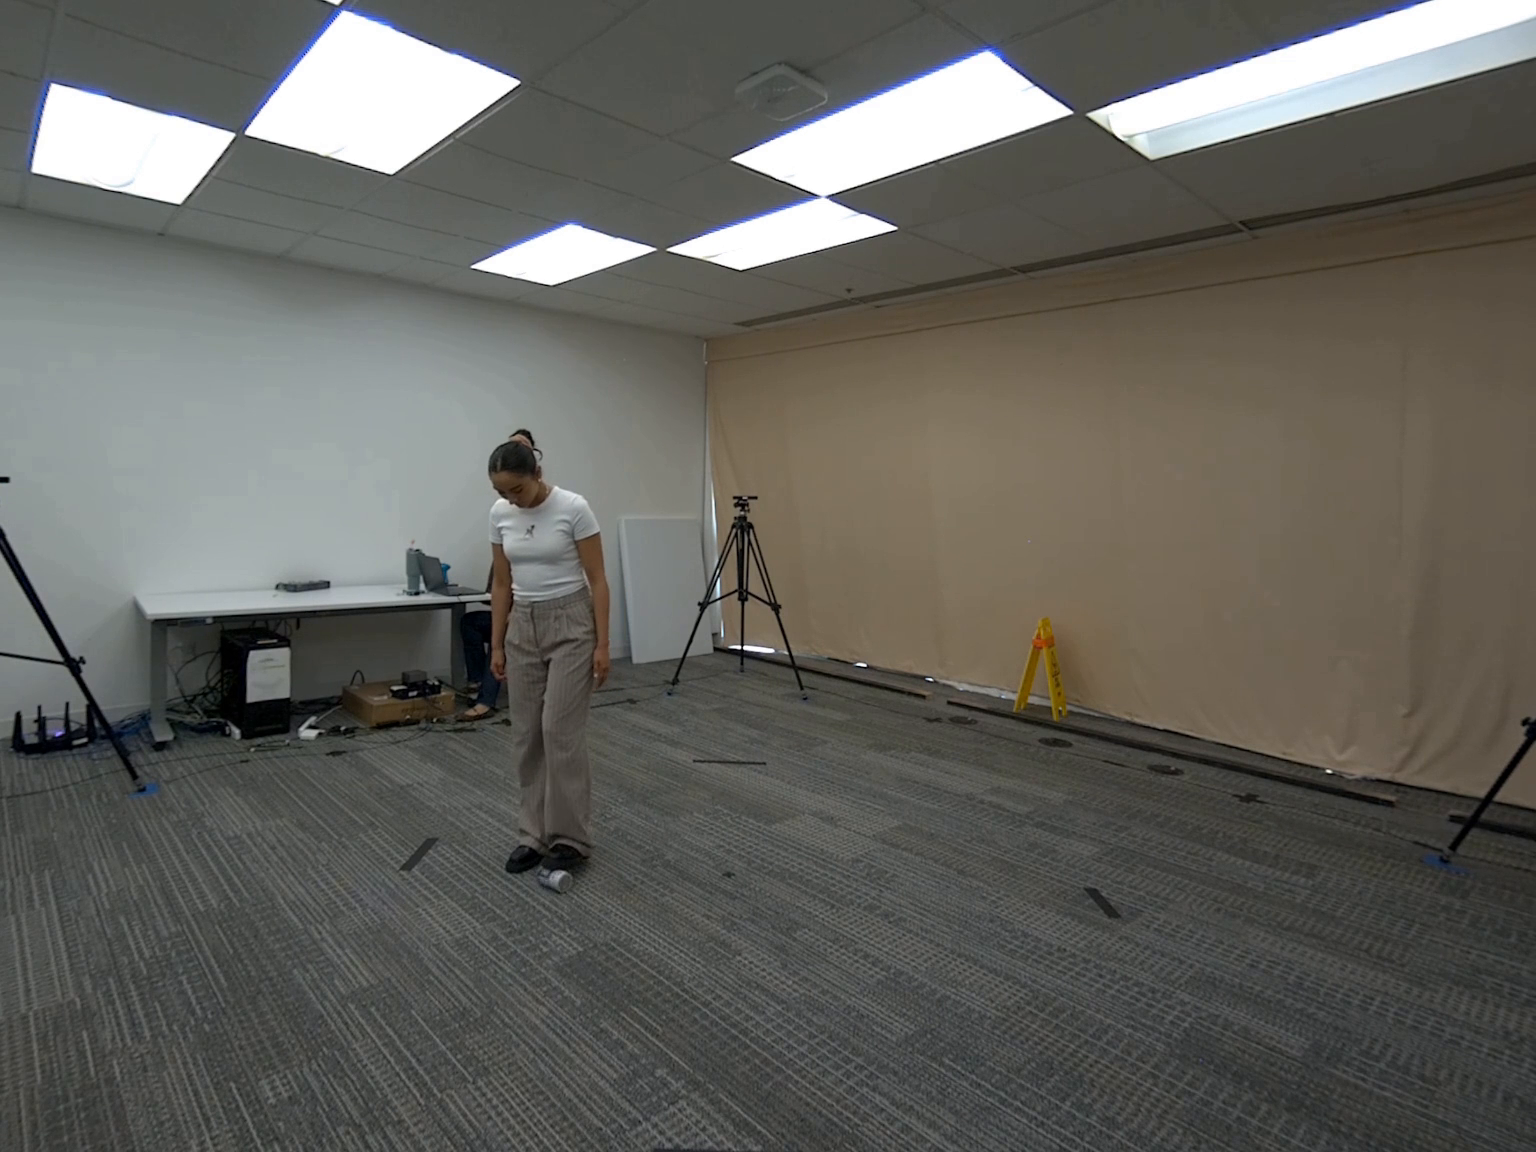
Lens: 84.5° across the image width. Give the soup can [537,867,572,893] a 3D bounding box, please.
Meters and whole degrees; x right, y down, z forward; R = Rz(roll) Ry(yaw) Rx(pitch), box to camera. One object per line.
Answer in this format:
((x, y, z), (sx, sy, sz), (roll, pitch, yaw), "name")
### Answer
((-0.765, 1.071, 2.971), (0.124, 0.067, 0.066), (3, 4, 34), "soup can")
